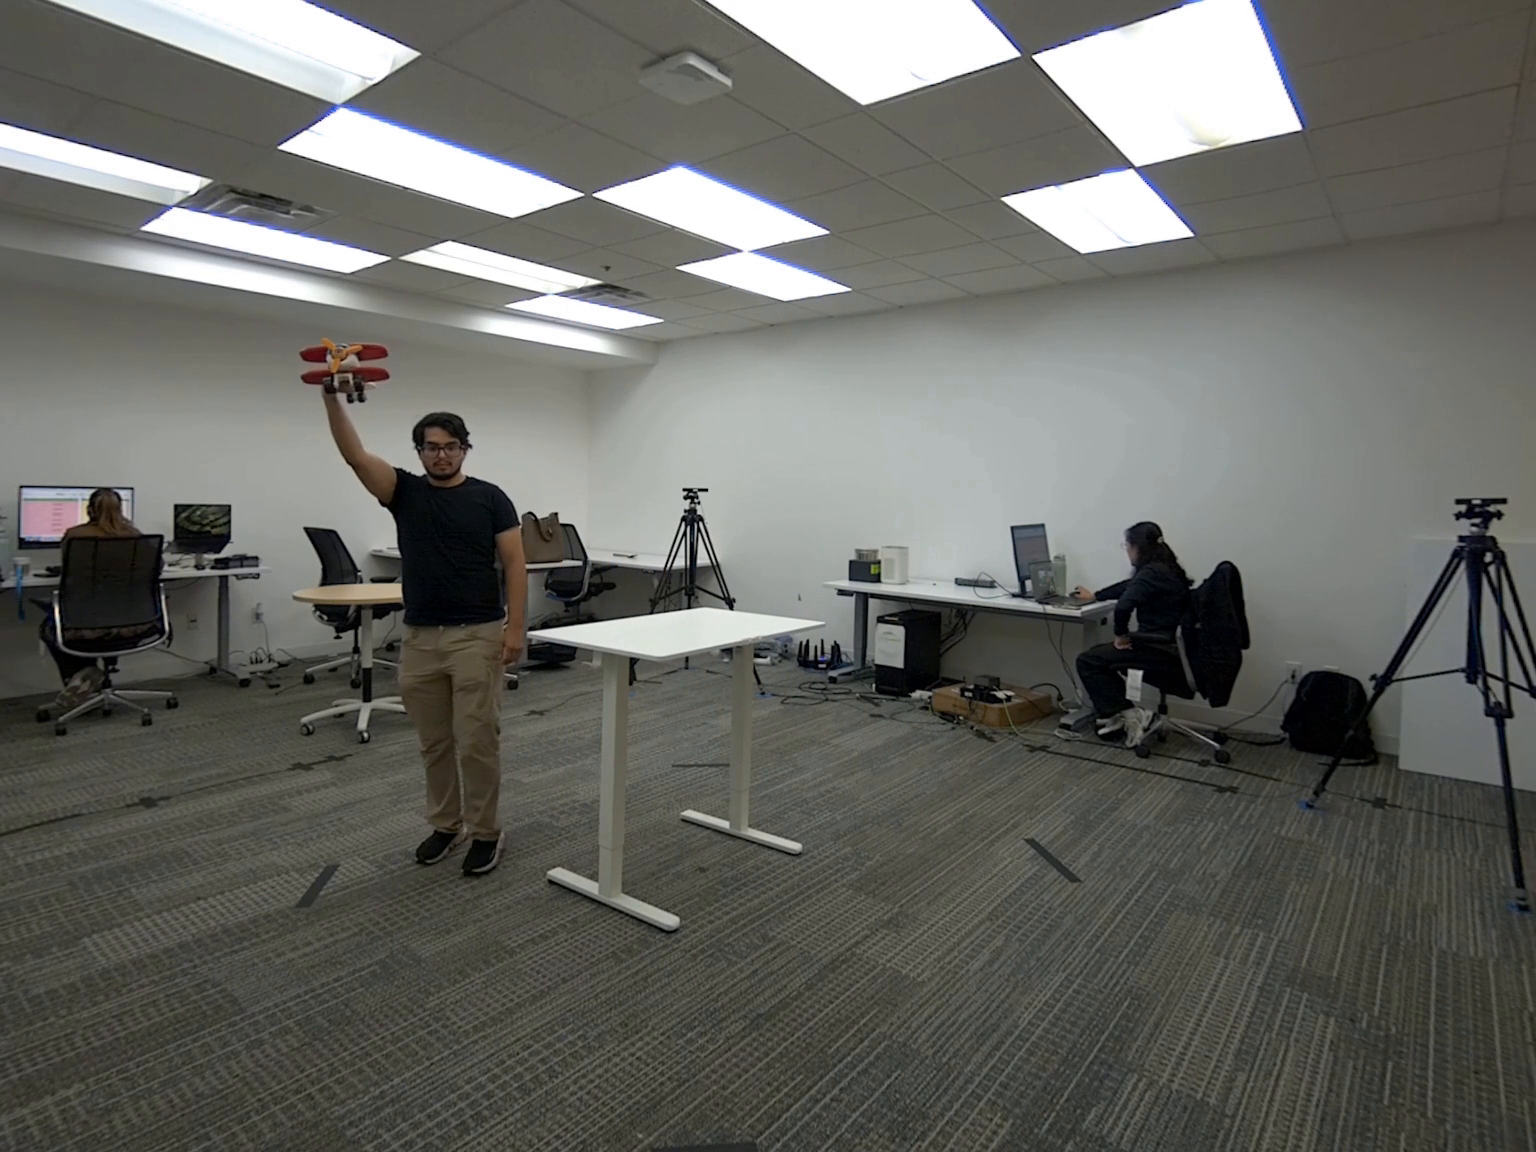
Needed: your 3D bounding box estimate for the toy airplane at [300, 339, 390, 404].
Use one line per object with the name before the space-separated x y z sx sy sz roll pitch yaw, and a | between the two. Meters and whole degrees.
toy airplane | -1.358 -0.638 2.673 0.244 0.156 0.267 -7 1 -42
